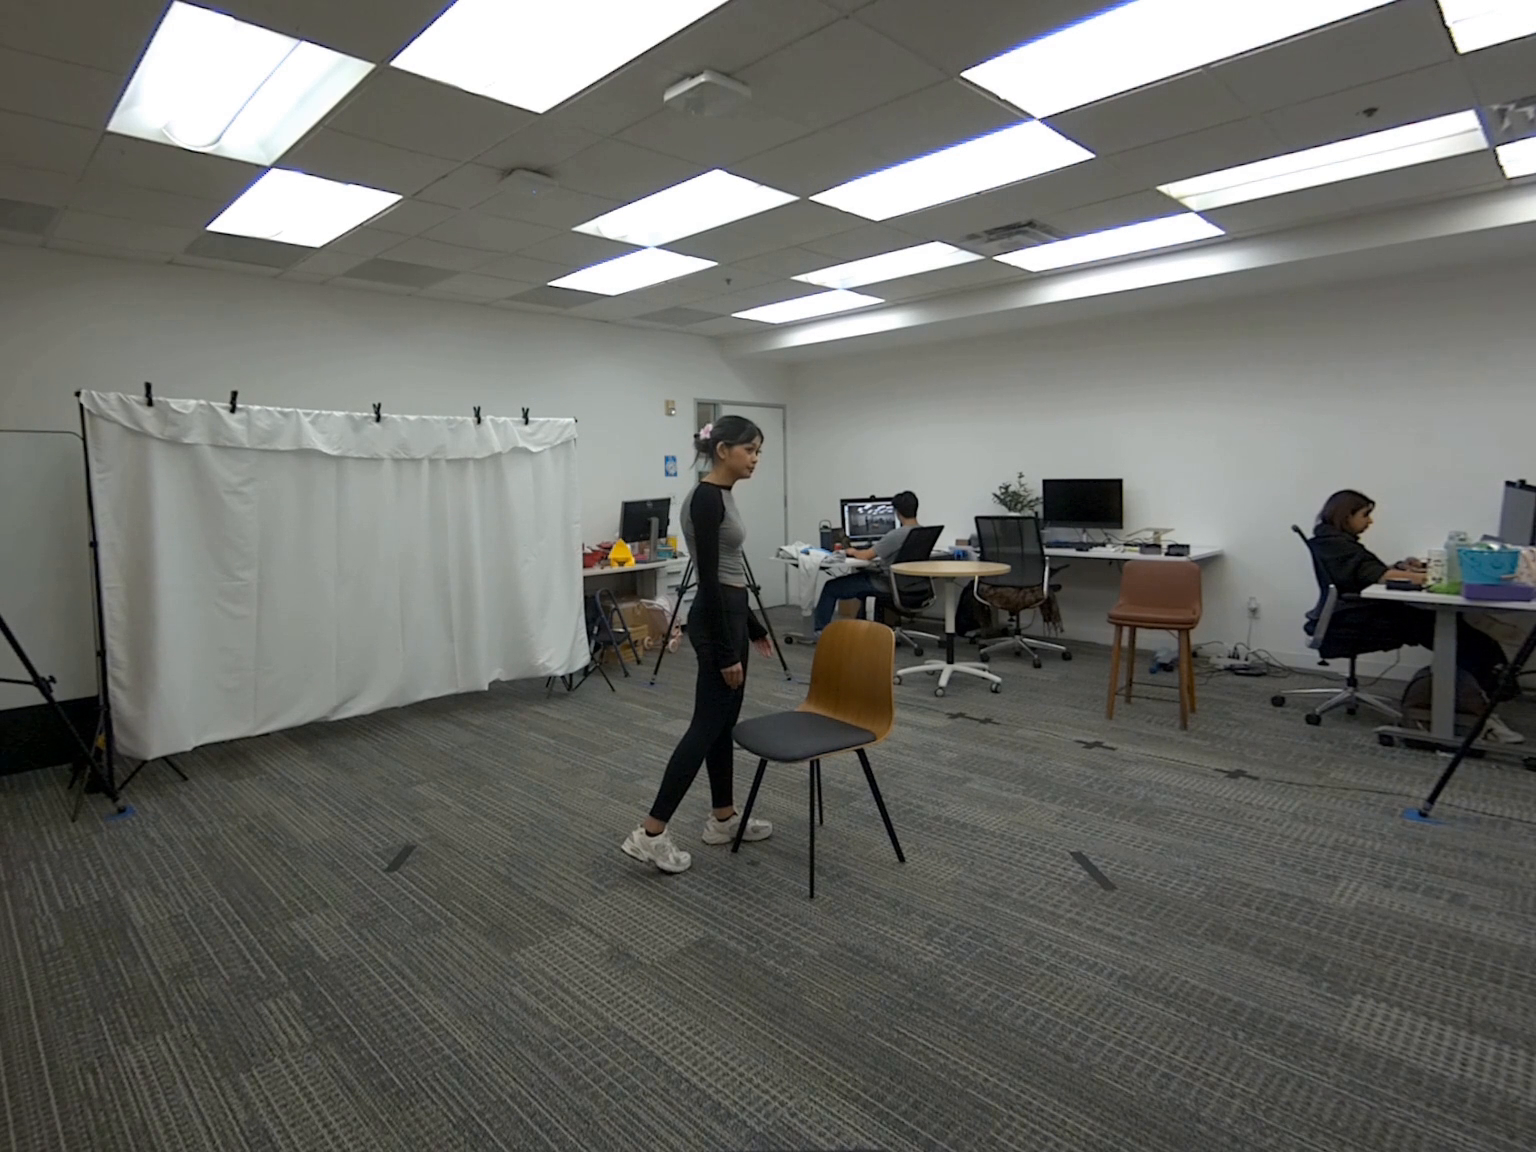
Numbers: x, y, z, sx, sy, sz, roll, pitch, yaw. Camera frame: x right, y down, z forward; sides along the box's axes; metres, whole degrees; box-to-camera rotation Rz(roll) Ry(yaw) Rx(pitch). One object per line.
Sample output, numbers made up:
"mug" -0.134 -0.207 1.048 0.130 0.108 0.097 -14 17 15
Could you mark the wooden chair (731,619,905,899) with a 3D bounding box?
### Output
"wooden chair" 0.171 0.611 3.100 0.508 0.876 0.492 1 3 -38
